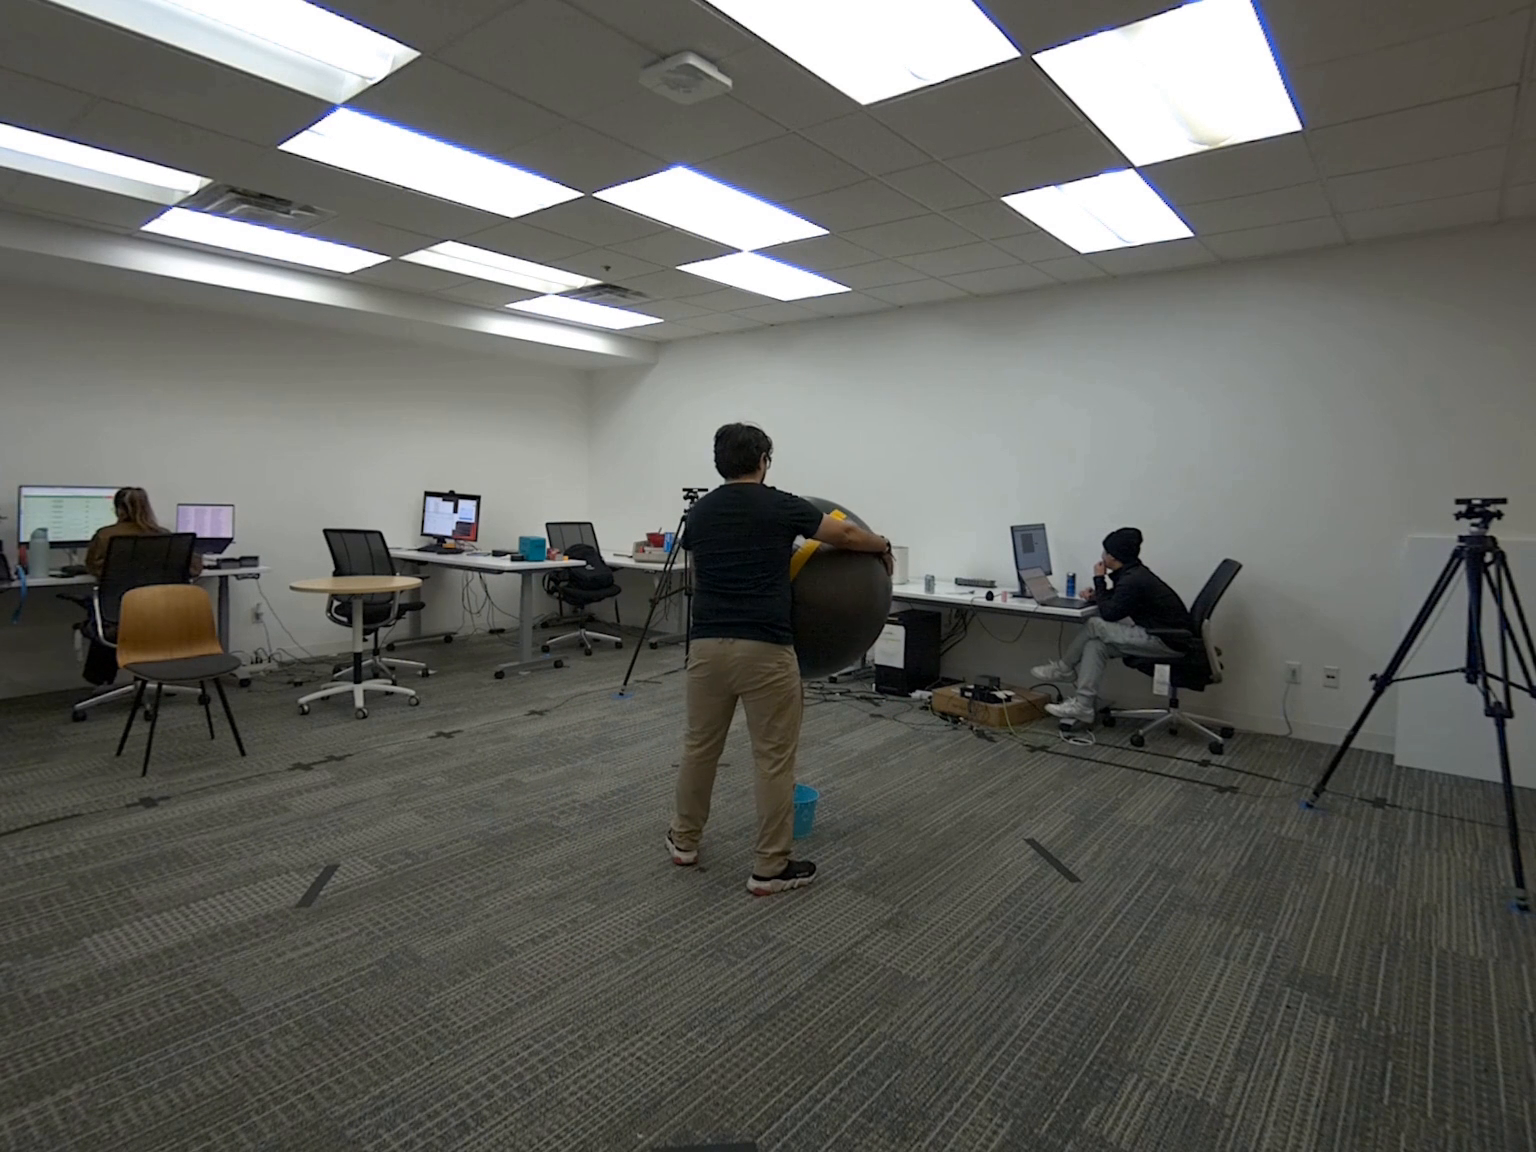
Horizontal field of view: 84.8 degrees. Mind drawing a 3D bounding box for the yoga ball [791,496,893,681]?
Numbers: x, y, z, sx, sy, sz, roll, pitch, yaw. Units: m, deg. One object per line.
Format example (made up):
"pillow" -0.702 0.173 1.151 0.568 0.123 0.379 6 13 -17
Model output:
"yoga ball" 0.132 0.047 3.544 0.757 0.755 0.762 1 4 -2
